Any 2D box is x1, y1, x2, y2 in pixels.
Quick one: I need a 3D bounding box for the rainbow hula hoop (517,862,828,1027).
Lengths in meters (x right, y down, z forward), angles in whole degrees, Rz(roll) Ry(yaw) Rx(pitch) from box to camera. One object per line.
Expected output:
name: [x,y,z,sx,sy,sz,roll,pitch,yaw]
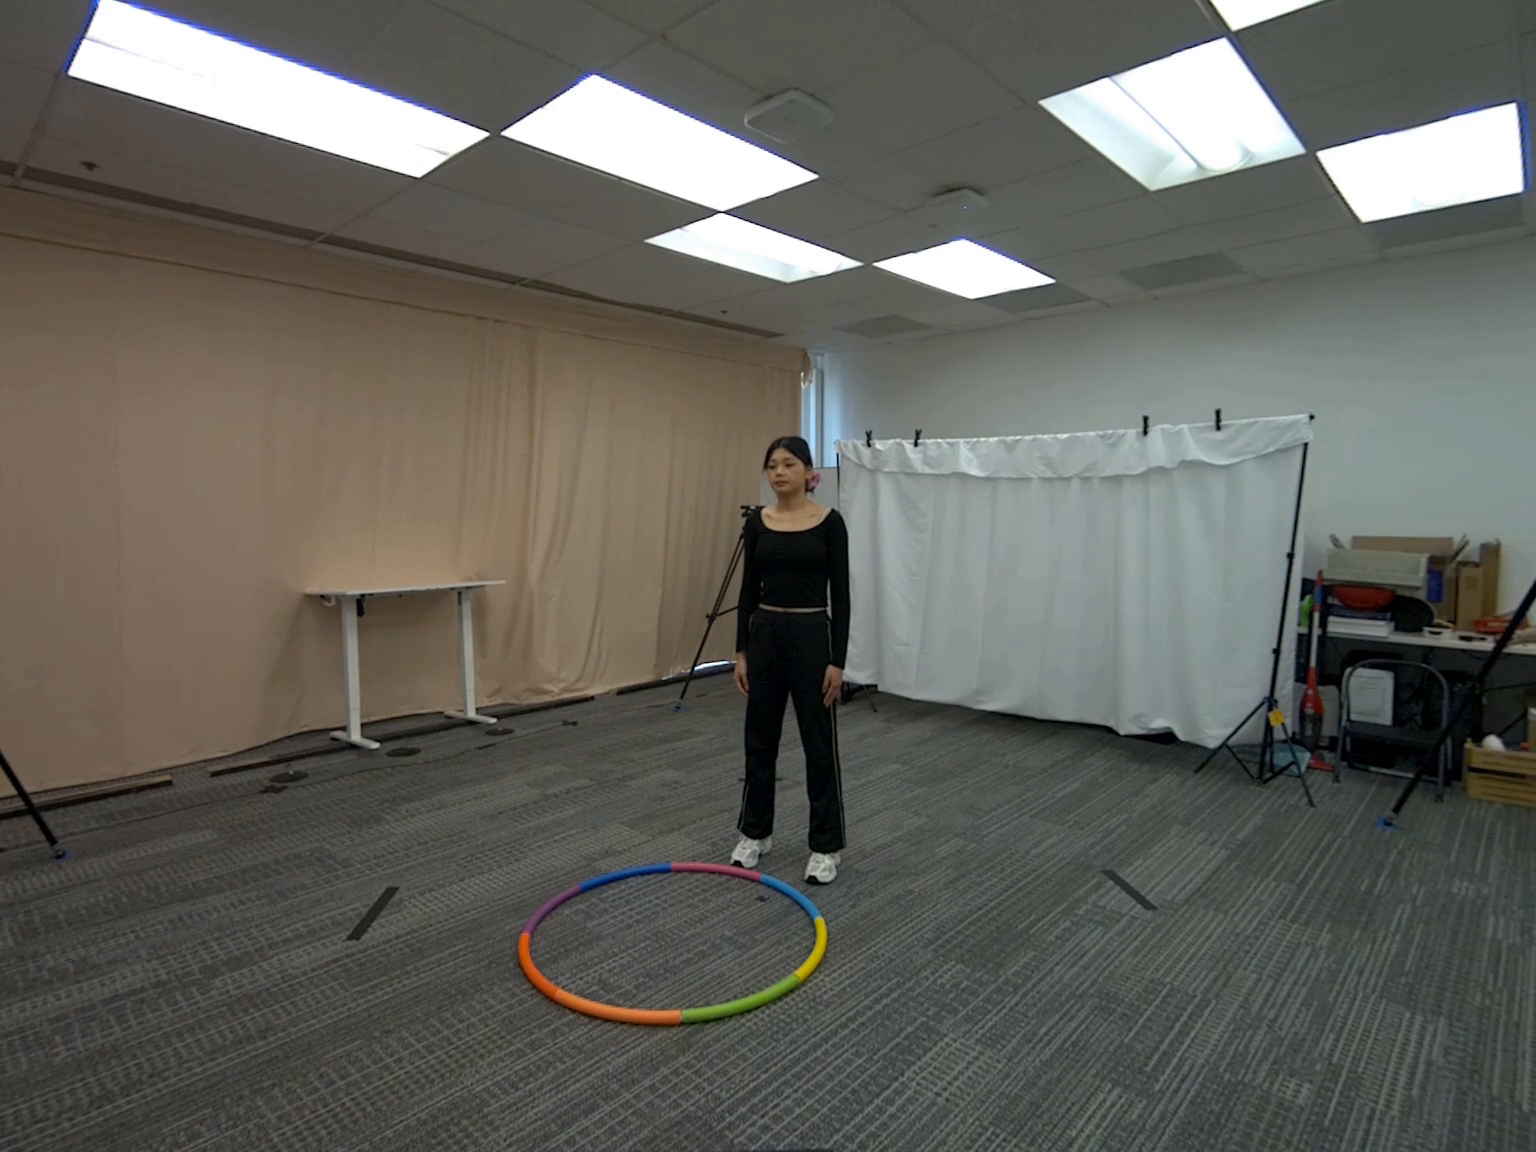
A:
rainbow hula hoop: [-0.302,1.137,2.739,0.978,0.035,0.982,-1,4,-2]
